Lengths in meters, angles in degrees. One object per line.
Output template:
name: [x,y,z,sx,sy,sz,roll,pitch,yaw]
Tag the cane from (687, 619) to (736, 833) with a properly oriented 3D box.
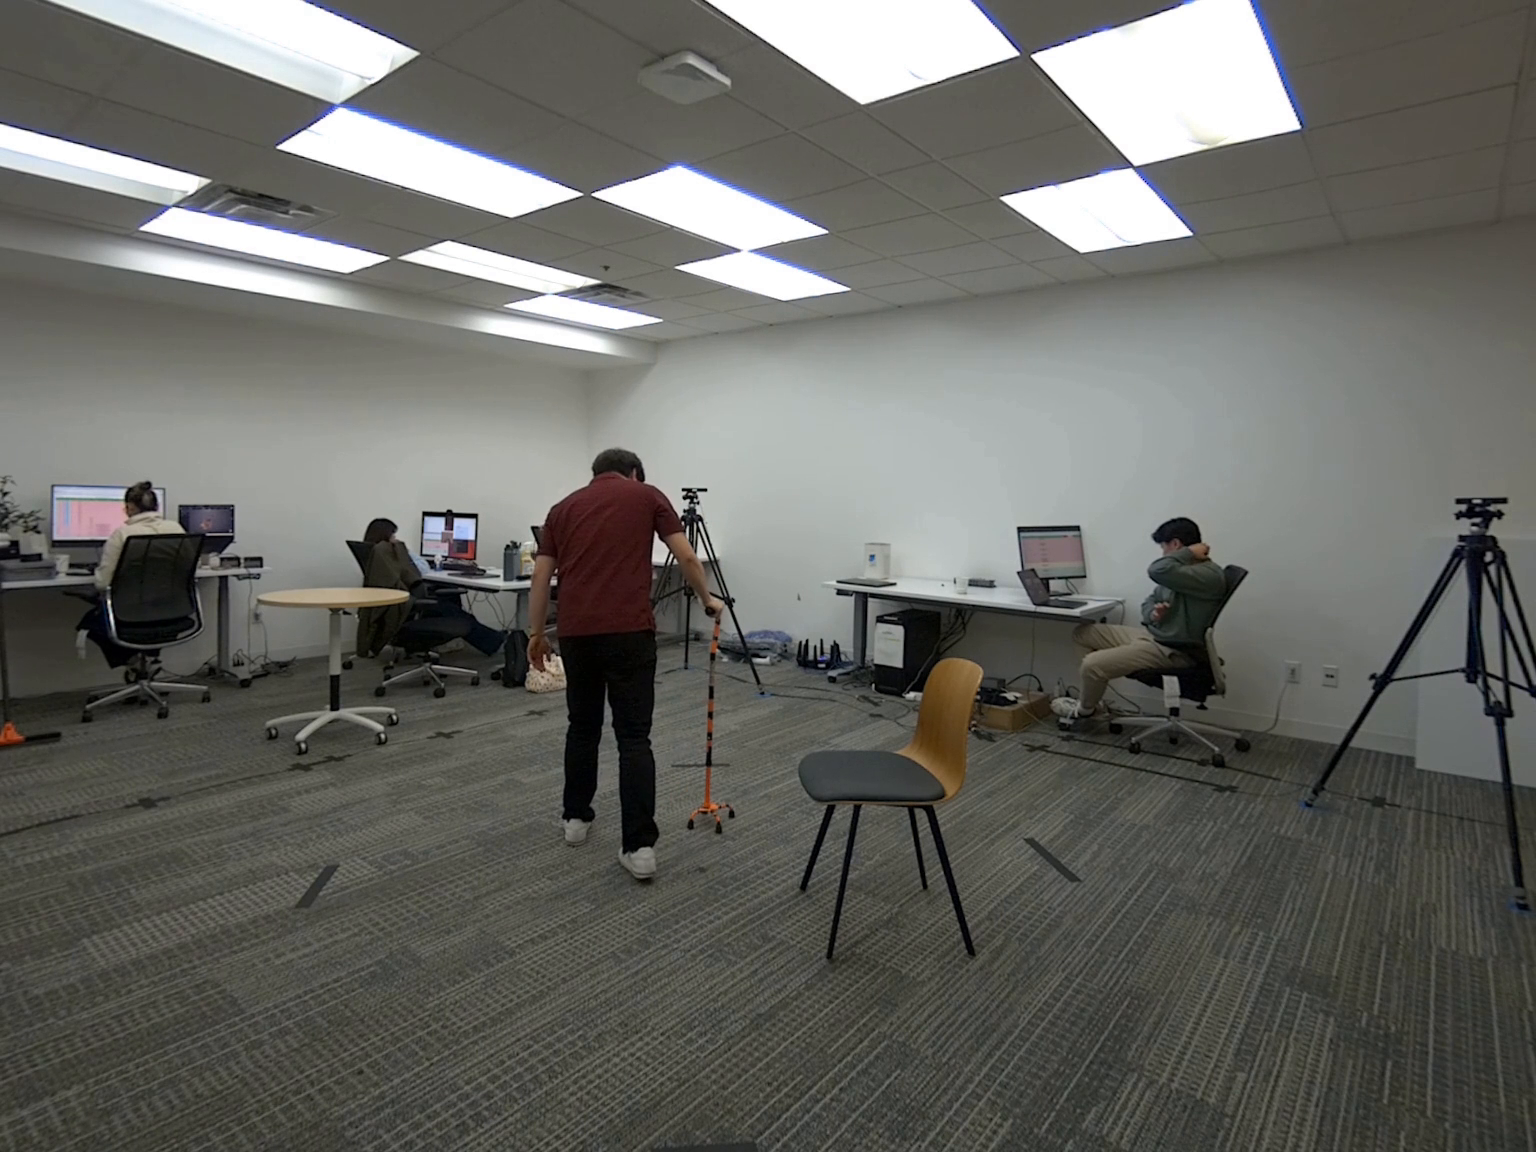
cane: [-0.231,0.575,3.530,0.154,0.906,0.203,2,2,15]
